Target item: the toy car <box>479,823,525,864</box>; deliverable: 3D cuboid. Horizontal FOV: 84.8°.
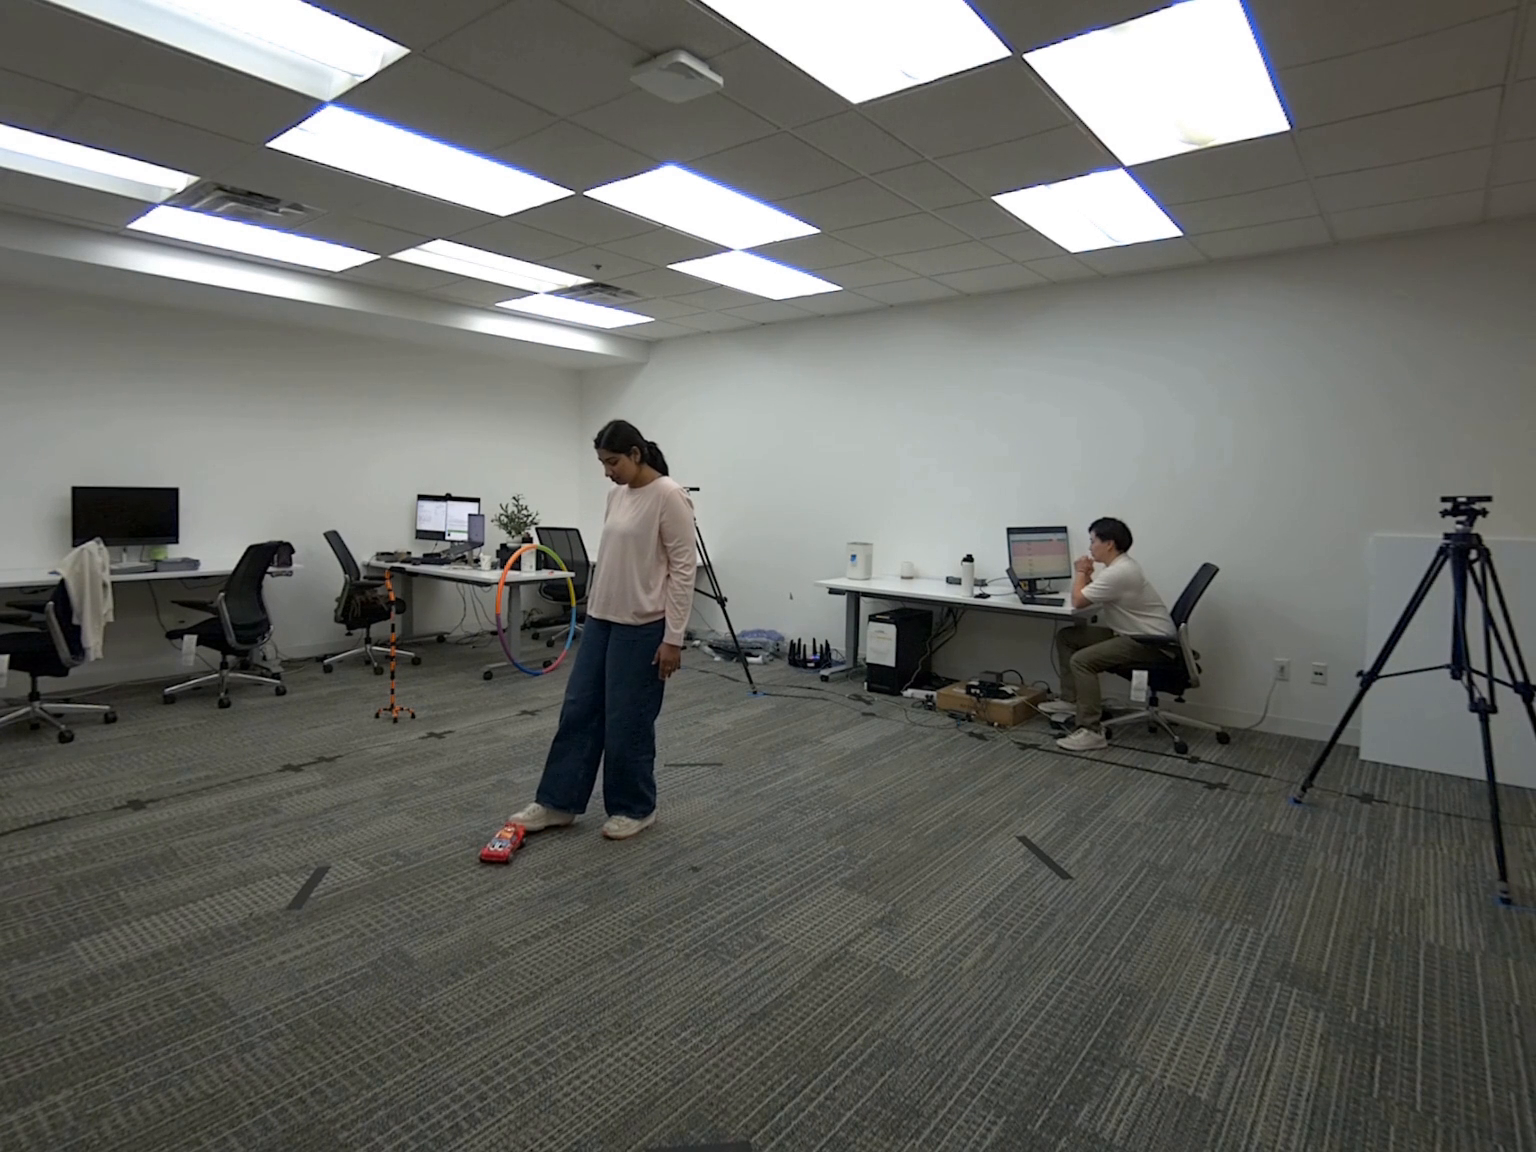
[{"bbox_3d":[-1.011,1.013,3.218,0.131,0.082,0.257,1,16,3],"label":"toy car"}]
